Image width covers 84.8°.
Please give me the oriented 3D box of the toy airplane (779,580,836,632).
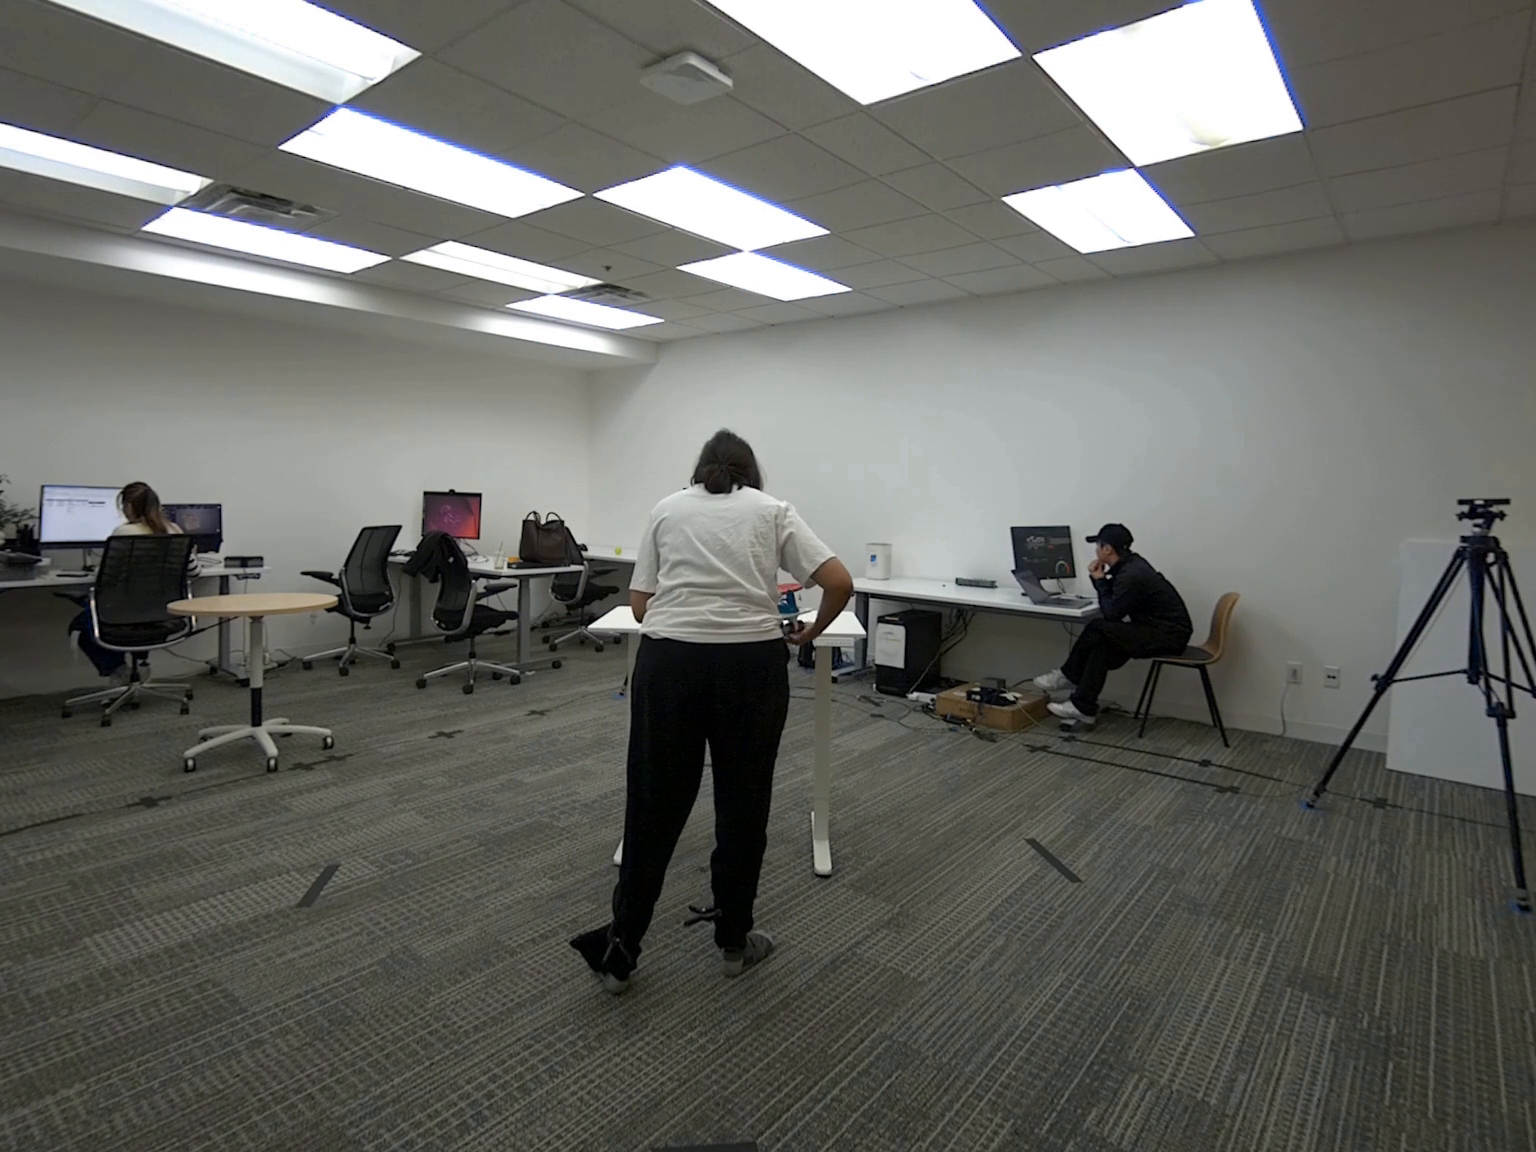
[{"bbox_3d":[0.017,0.110,2.620,0.265,0.157,0.244,-12,-1,39],"label":"toy airplane"}]
